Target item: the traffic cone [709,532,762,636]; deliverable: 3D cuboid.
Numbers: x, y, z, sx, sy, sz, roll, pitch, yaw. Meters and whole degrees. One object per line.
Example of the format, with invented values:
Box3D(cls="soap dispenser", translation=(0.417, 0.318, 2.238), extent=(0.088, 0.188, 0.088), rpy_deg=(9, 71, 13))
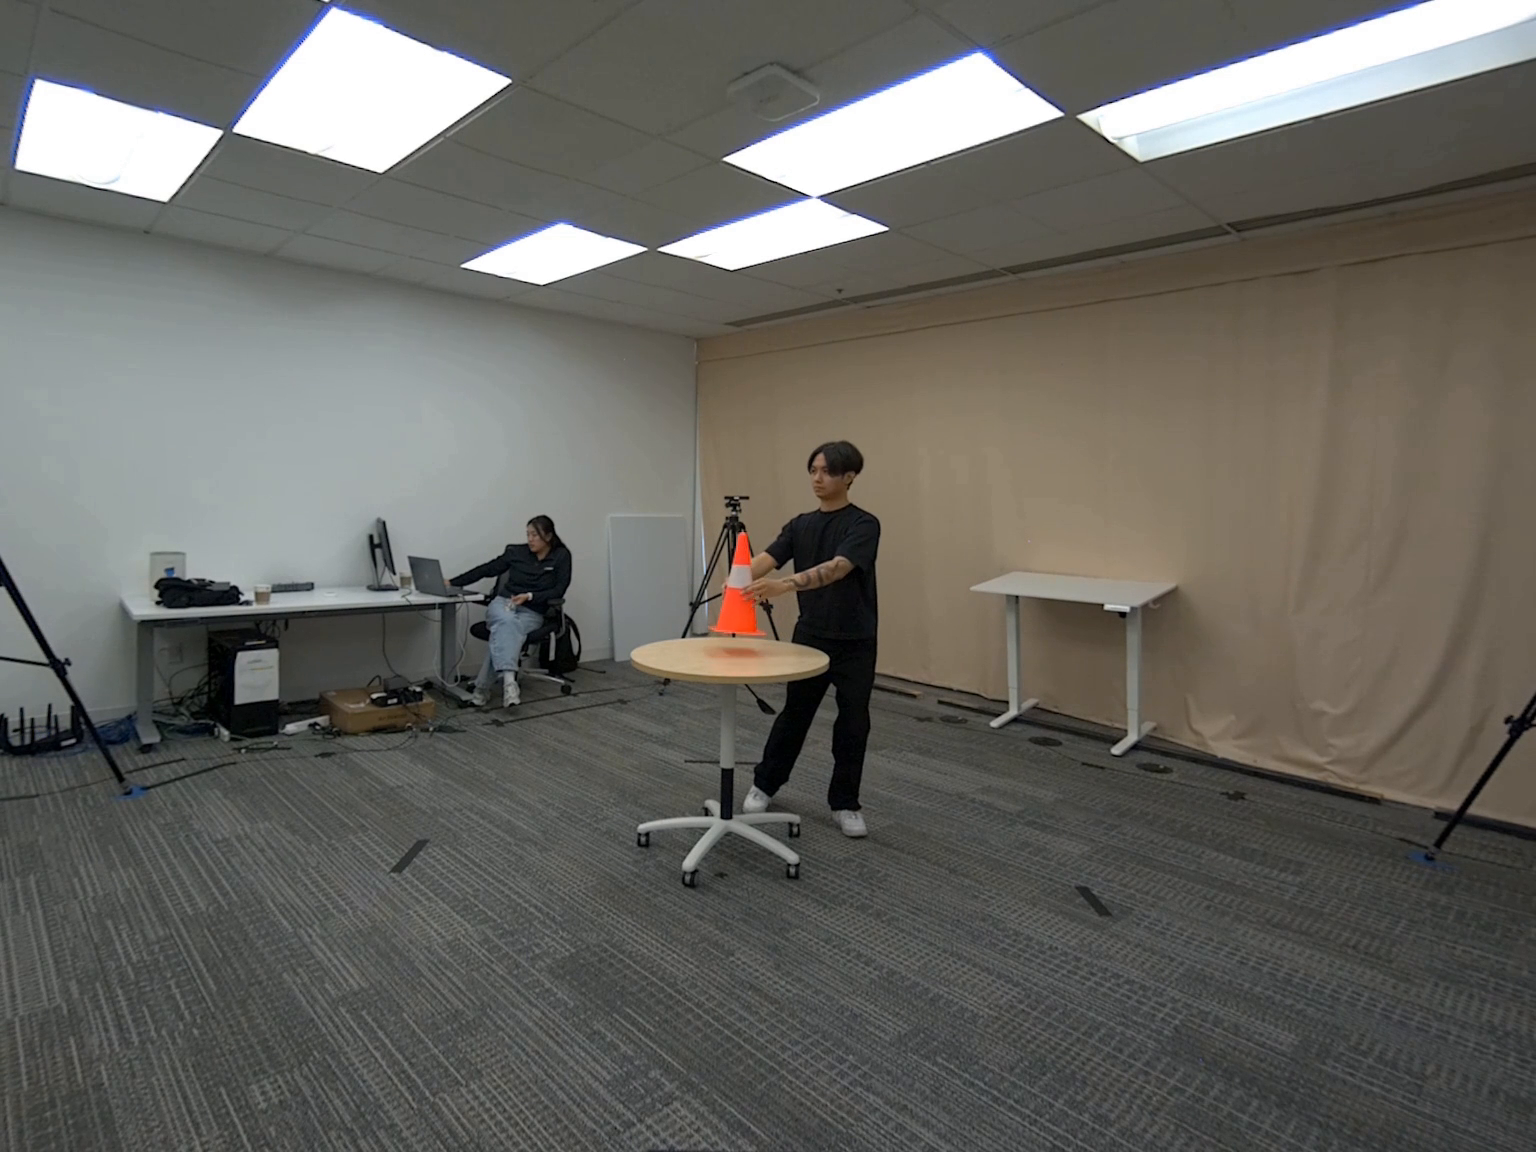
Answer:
Box3D(cls="traffic cone", translation=(-0.115, 0.022, 3.281), extent=(0.200, 0.383, 0.208), rpy_deg=(2, 2, -18))
